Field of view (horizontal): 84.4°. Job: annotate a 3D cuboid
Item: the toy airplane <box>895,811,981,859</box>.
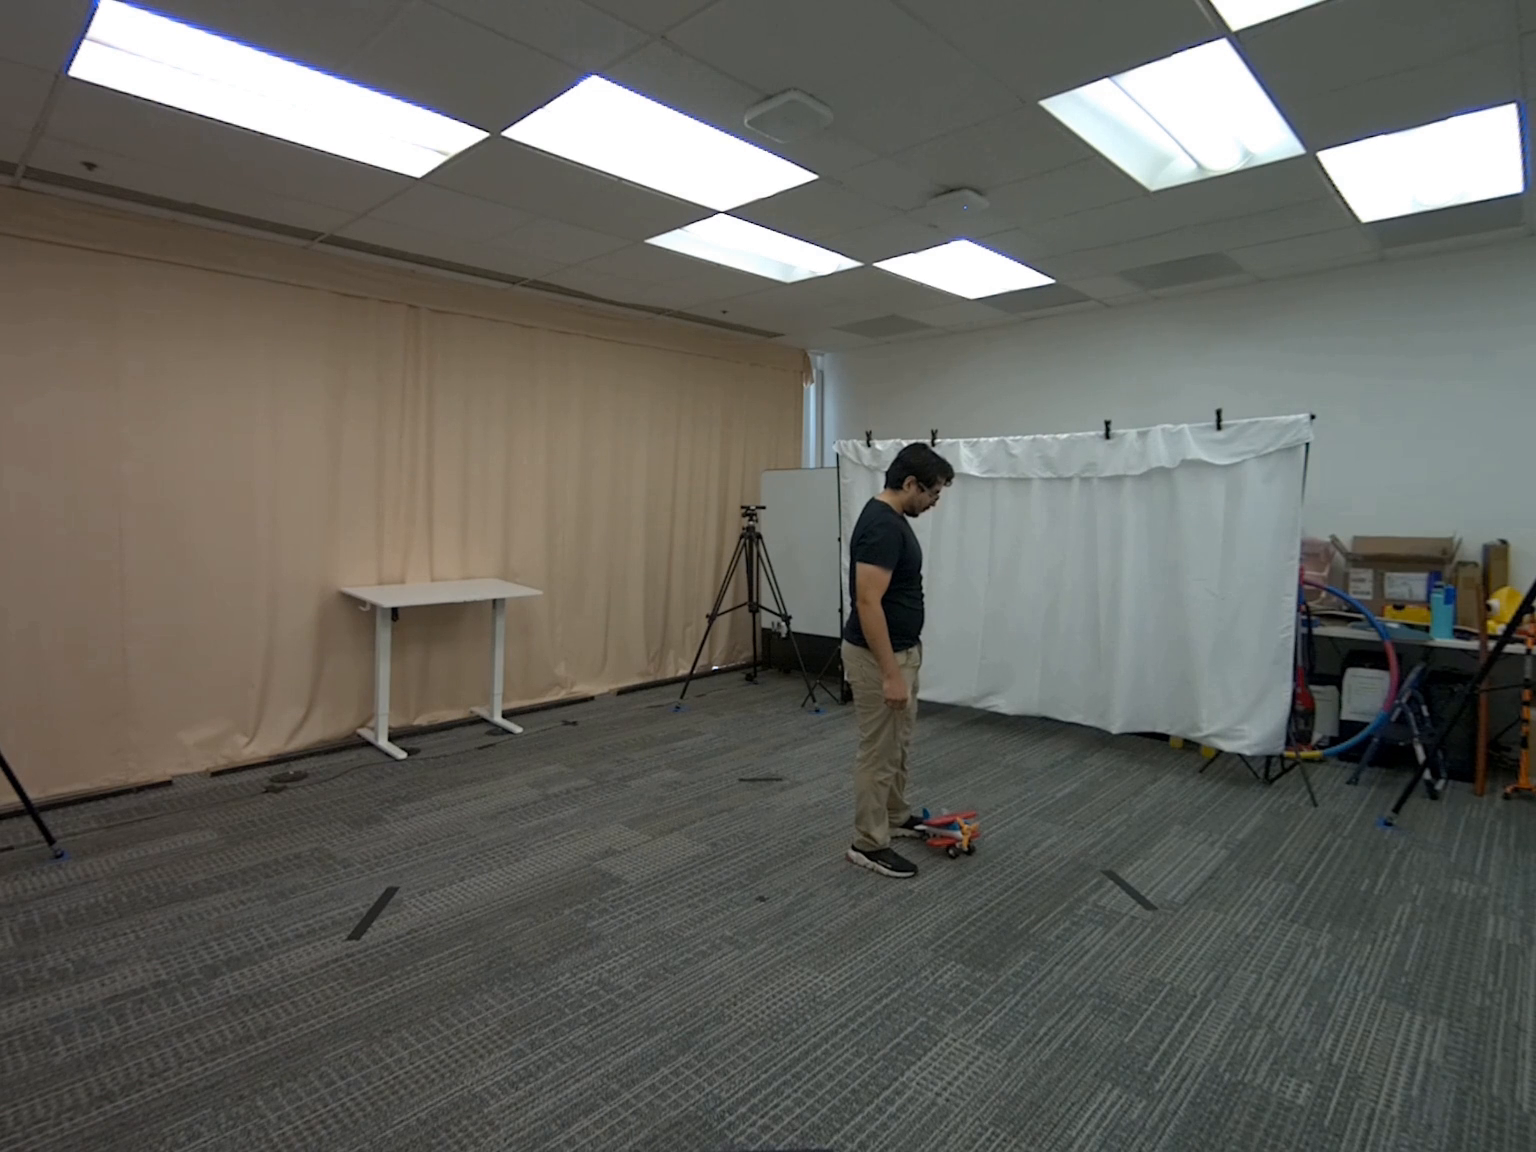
[{"bbox_3d":[0.716,1.033,3.406,0.267,0.156,0.244,5,5,31],"label":"toy airplane"}]
